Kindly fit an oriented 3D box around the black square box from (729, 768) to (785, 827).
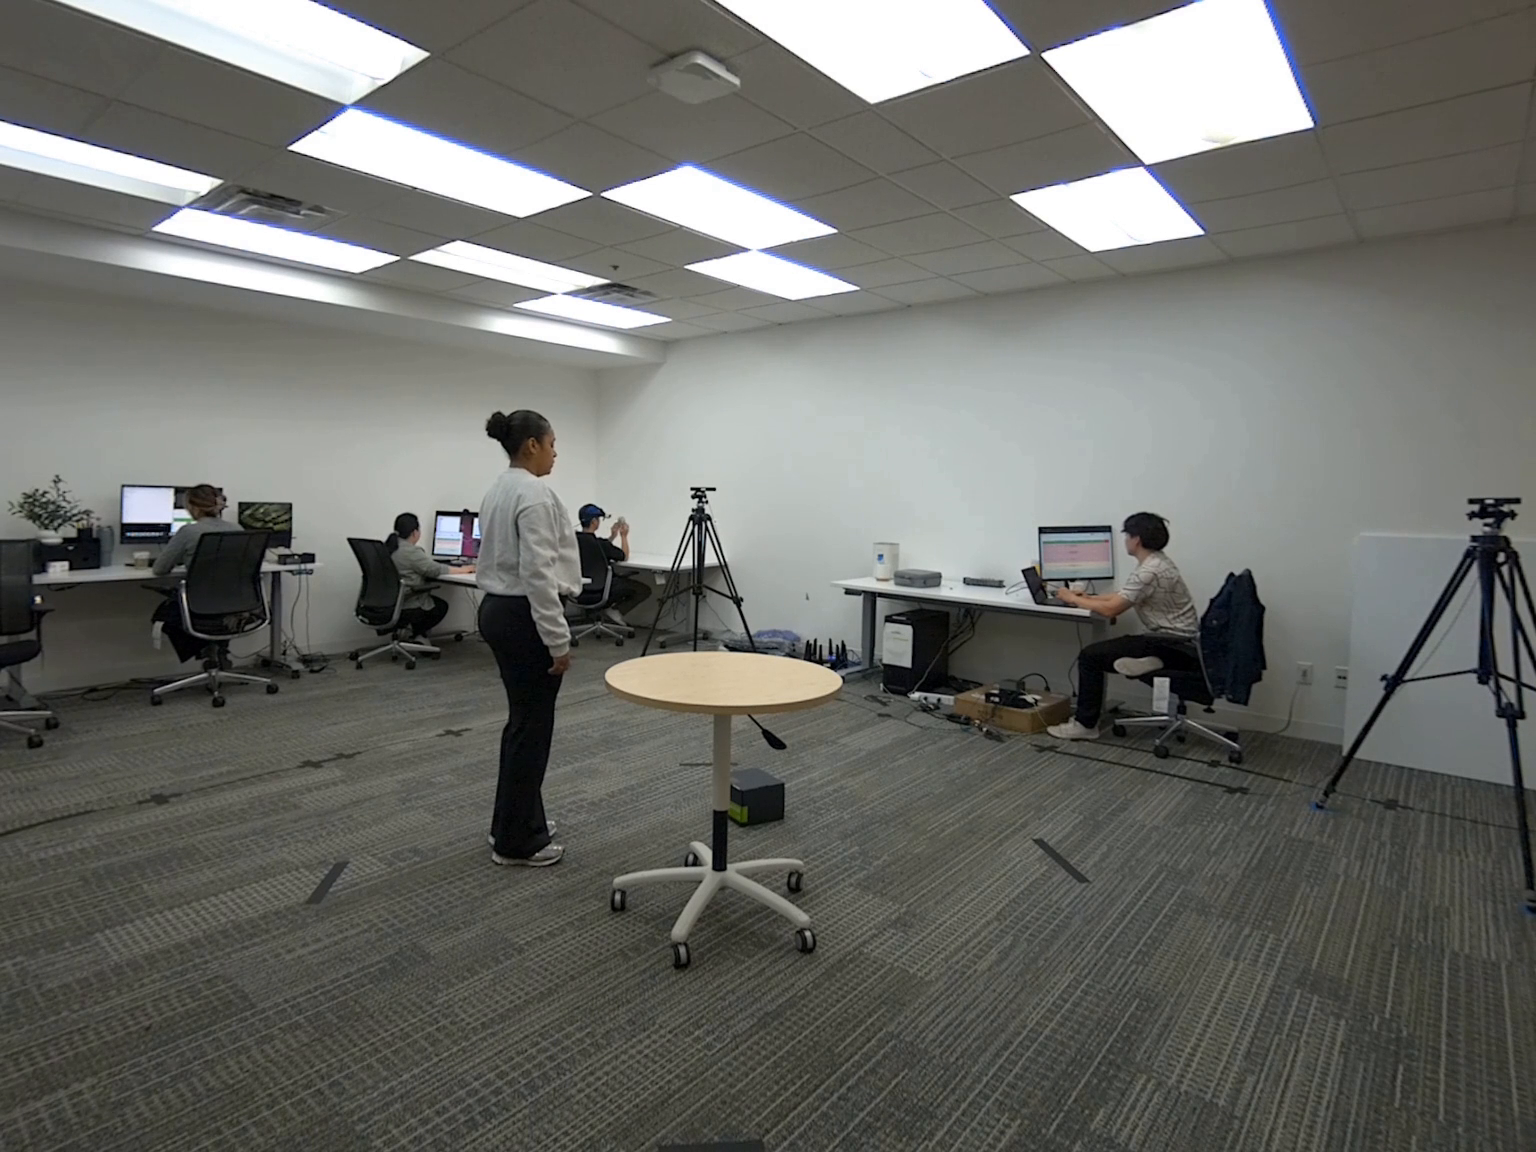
[{"bbox_3d":[-0.090,0.933,3.632,0.211,0.155,0.235,-1,5,-32],"label":"black square box"}]
